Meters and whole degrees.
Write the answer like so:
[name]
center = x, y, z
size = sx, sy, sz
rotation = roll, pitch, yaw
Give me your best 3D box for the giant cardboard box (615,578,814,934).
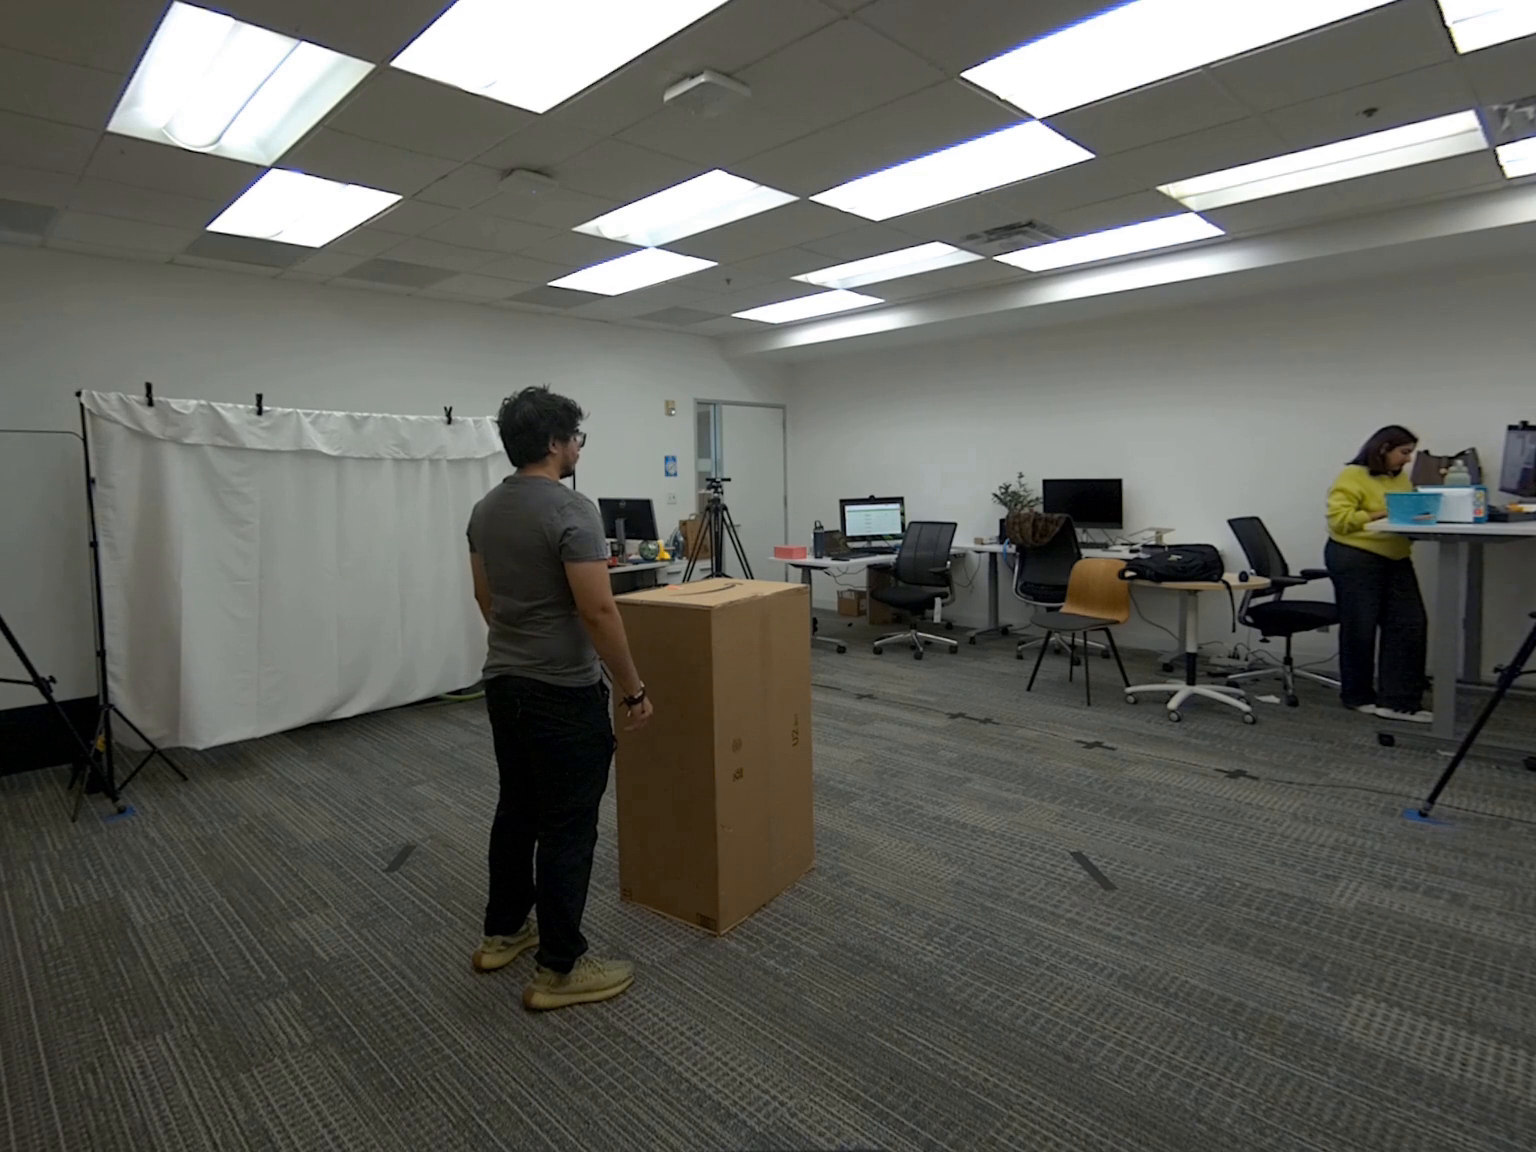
[giant cardboard box]
center = -0.174, 0.561, 2.922
size = 0.459, 1.023, 0.570
rotation = 2, 6, 34
